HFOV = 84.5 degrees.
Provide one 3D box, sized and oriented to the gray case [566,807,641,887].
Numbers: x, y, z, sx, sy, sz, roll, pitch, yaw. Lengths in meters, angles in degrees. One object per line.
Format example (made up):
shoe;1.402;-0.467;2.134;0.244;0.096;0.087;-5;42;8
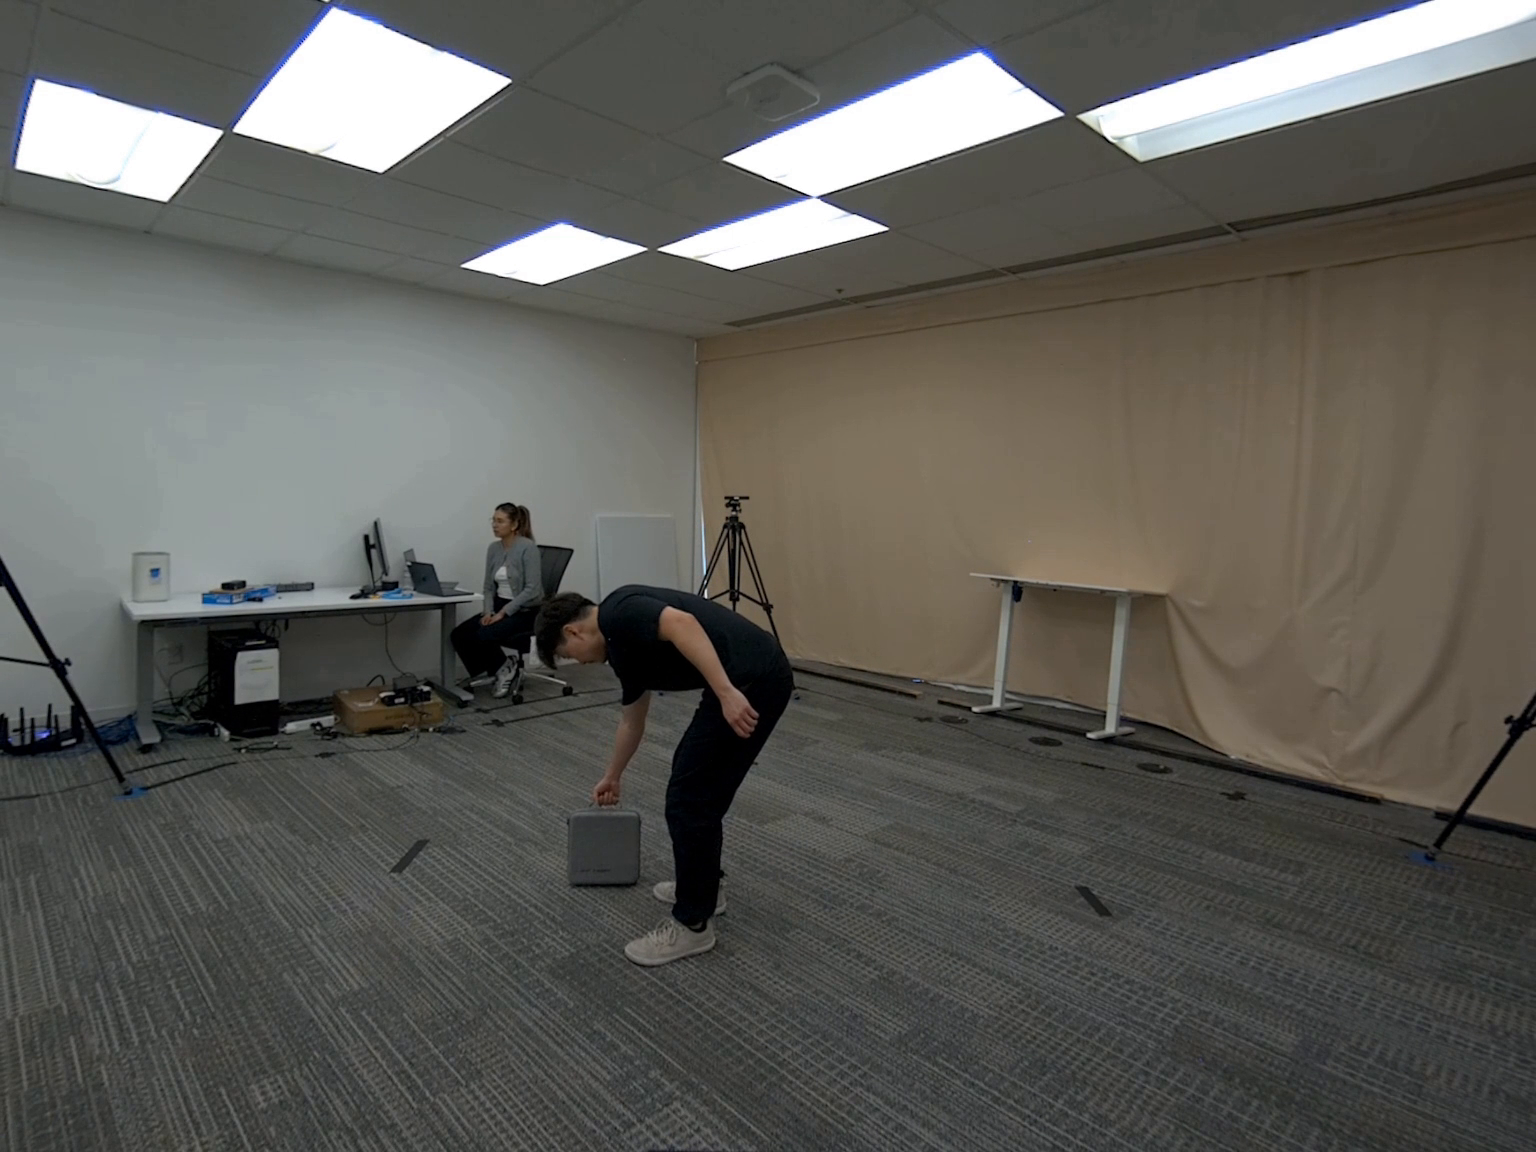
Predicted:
gray case;-0.597;0.969;3.033;0.256;0.261;0.104;2;-4;-4
